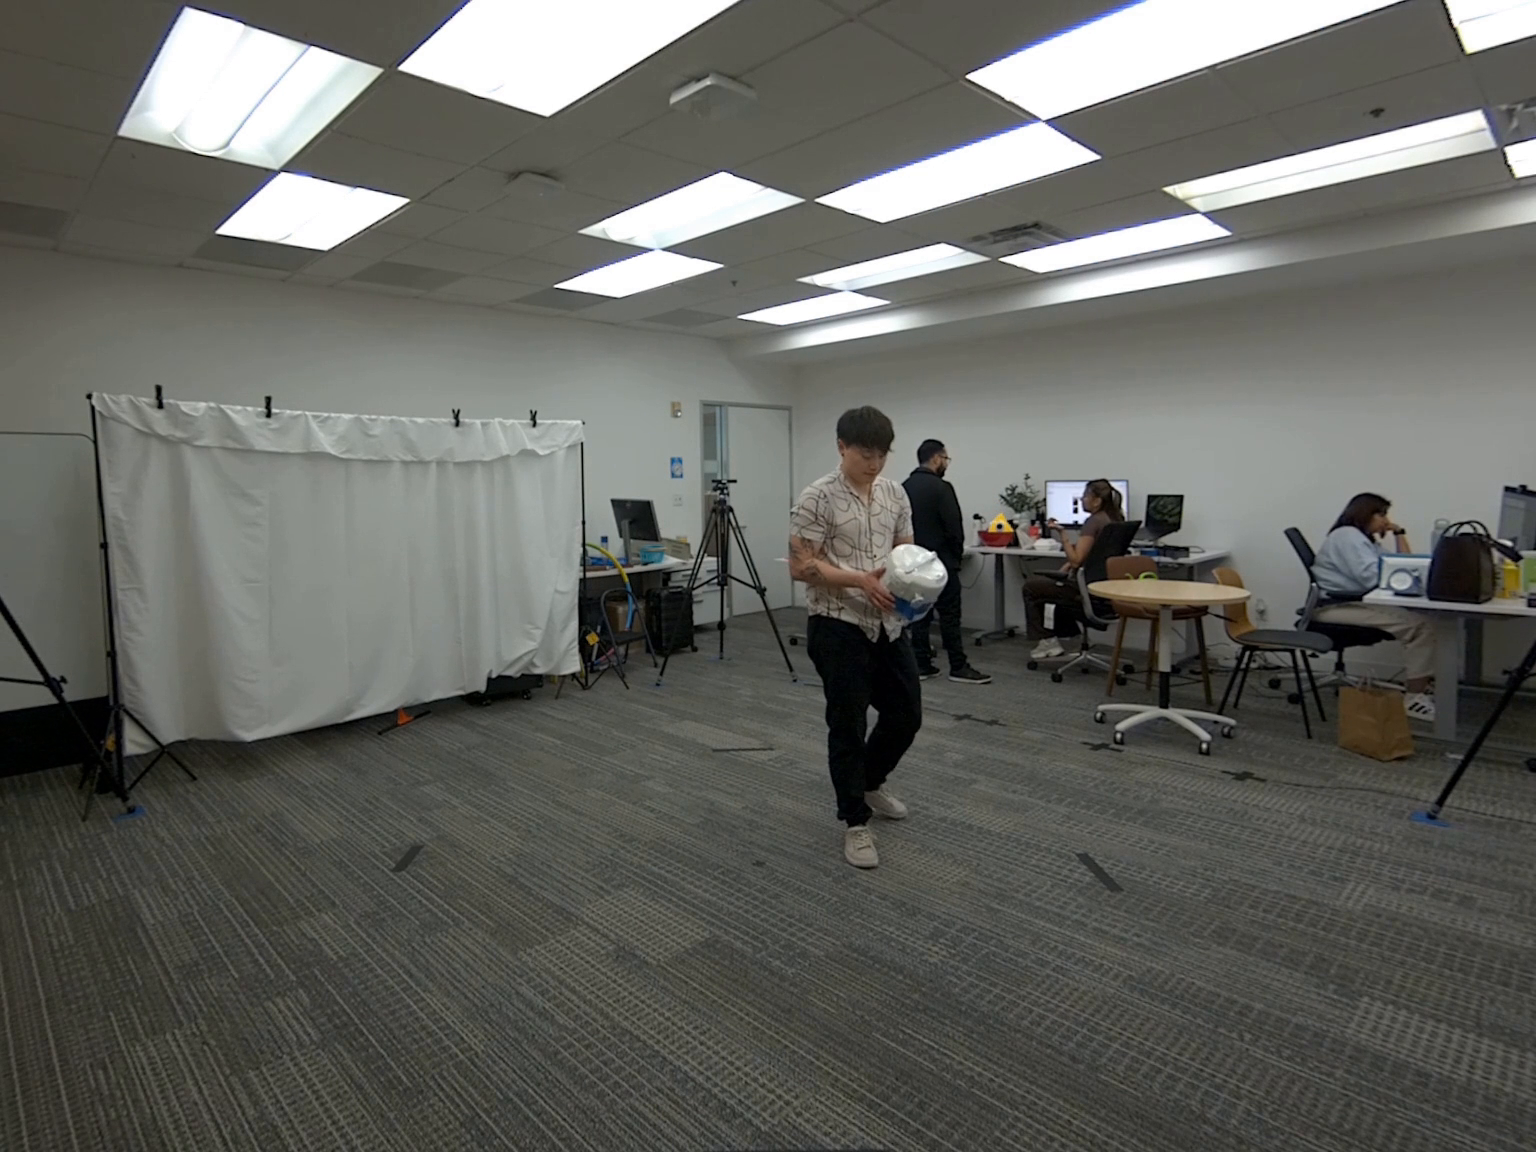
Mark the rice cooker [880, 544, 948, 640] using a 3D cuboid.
[{"bbox_3d":[0.479,0.014,2.932,0.217,0.230,0.224,-23,59,-41],"label":"rice cooker"}]
